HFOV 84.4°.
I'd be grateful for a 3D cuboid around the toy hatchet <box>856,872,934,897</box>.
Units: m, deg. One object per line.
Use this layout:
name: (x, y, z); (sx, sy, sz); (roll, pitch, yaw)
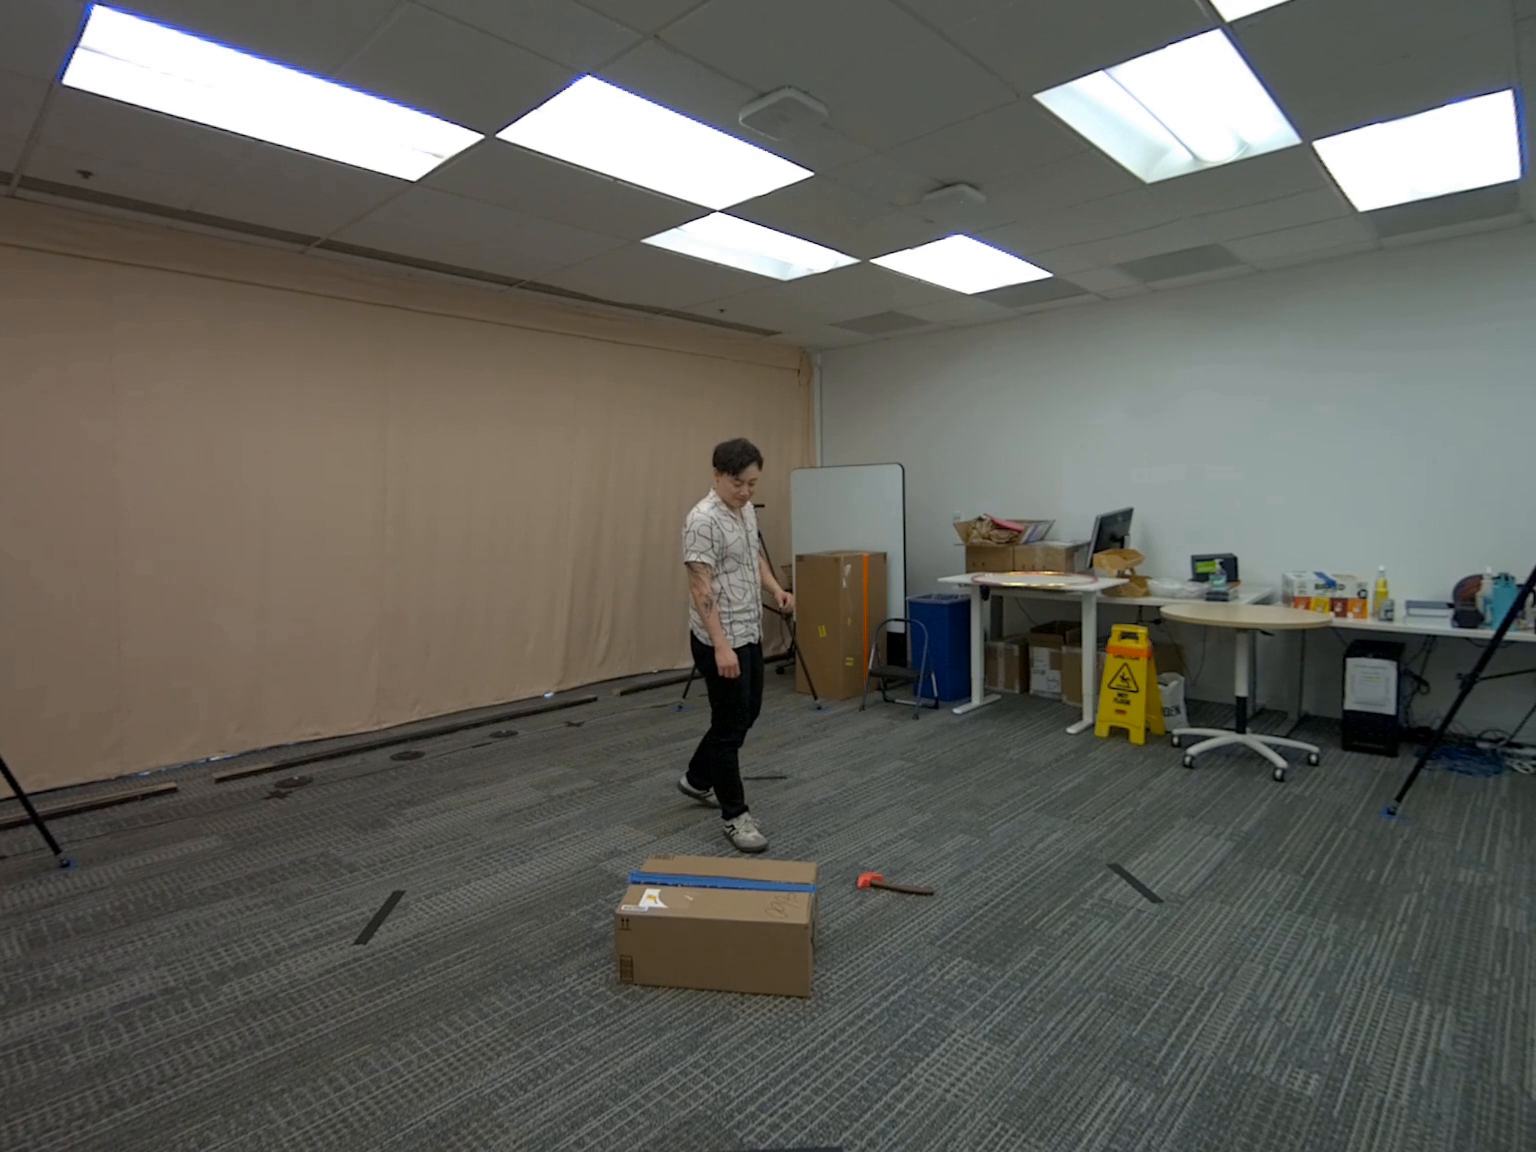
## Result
toy hatchet: (0.464, 1.114, 3.051); (0.273, 0.029, 0.130); (1, 3, 10)
